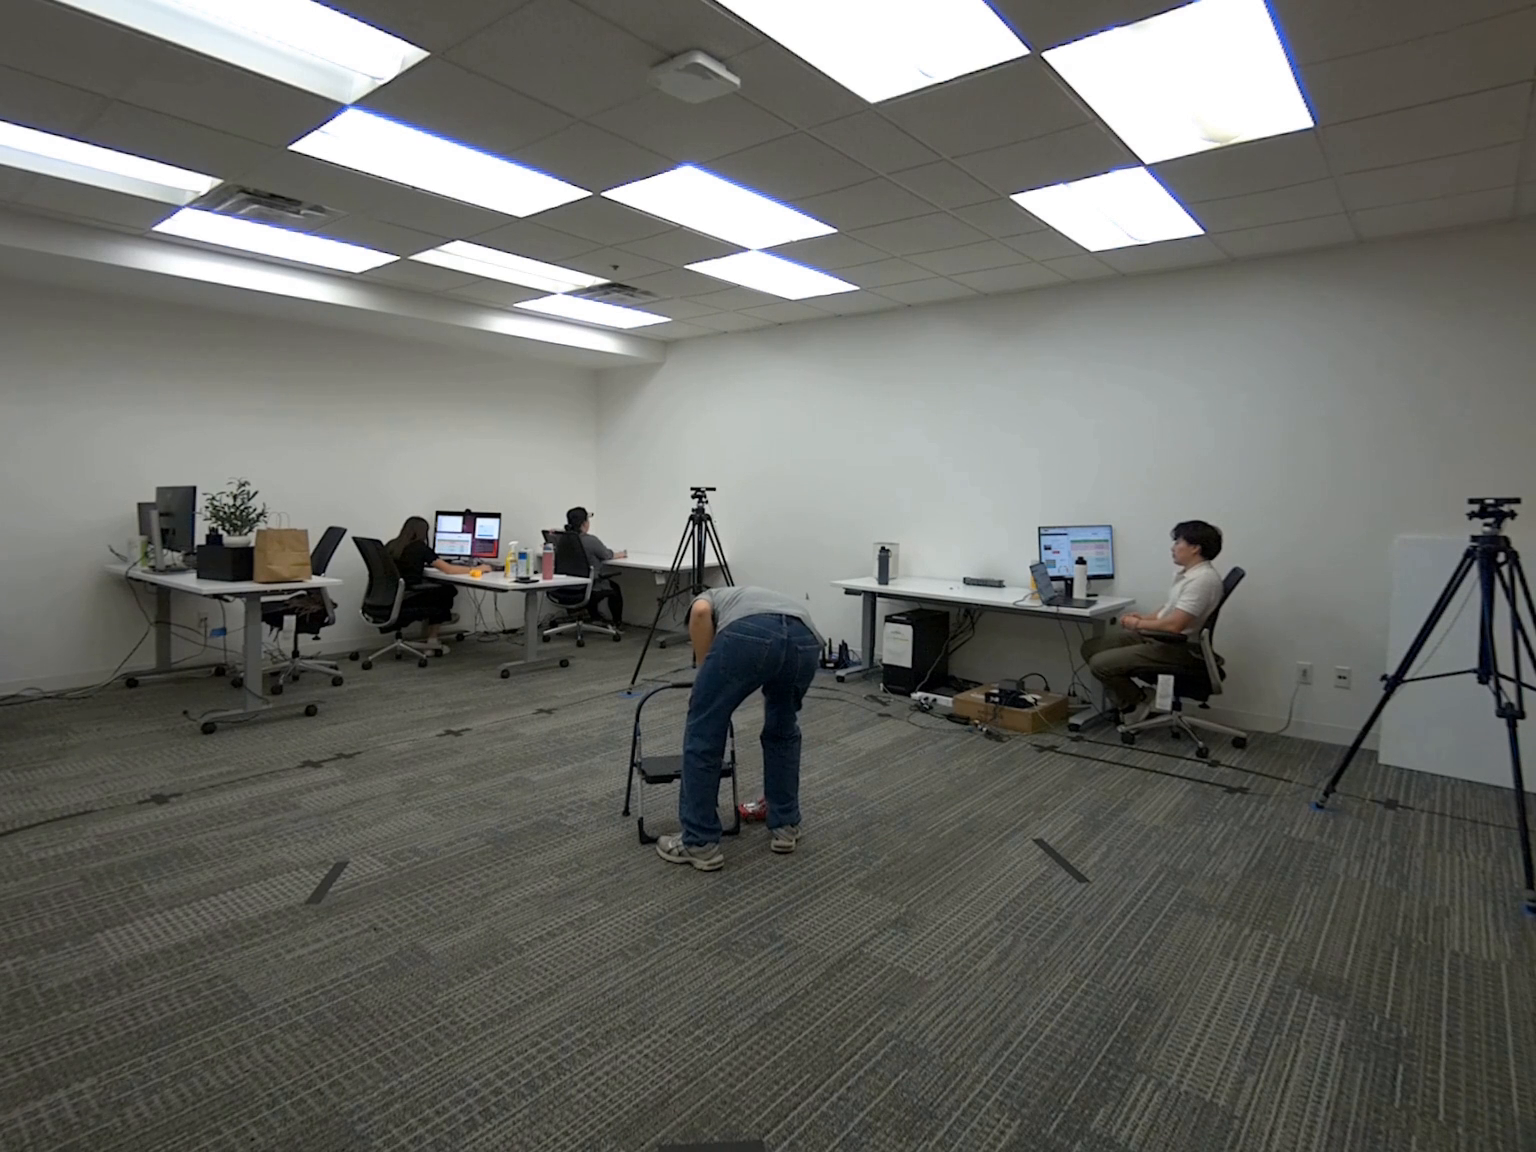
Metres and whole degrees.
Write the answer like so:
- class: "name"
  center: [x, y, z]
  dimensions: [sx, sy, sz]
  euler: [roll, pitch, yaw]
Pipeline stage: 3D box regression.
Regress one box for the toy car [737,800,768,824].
- class: "toy car"
  center: [-0.009, 0.989, 3.613]
  dimensions: [0.251, 0.082, 0.133]
  euler: [-12, 12, -16]
